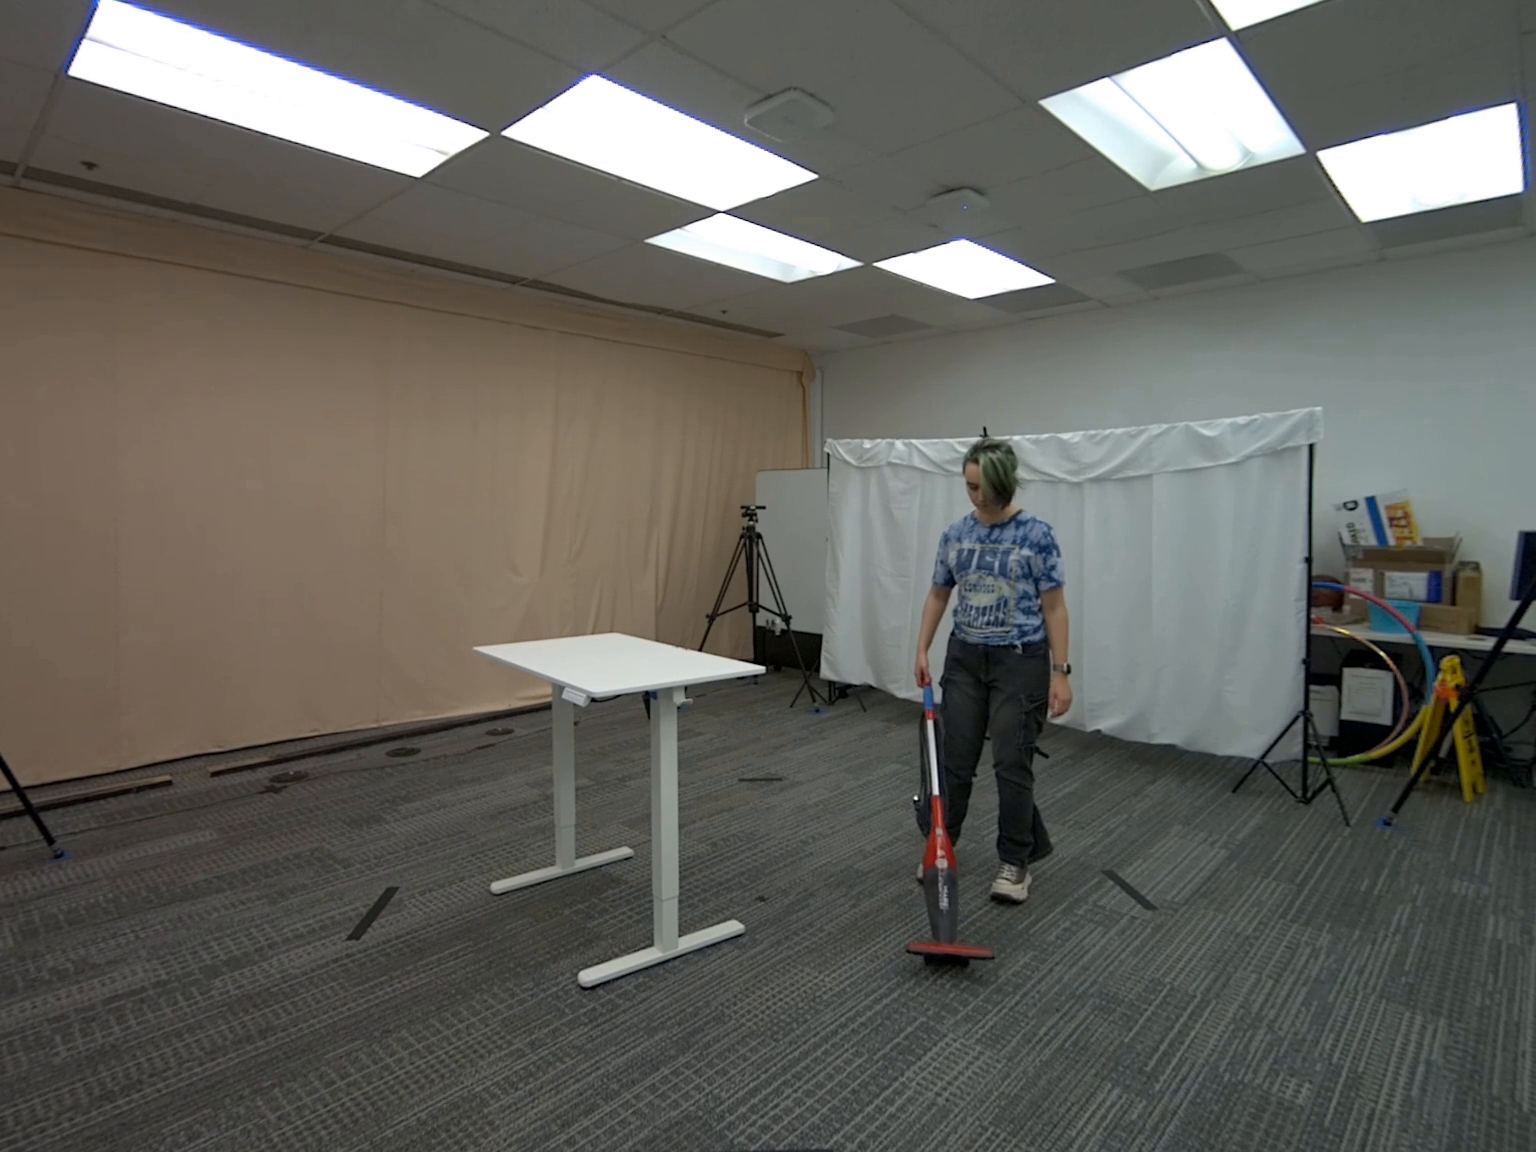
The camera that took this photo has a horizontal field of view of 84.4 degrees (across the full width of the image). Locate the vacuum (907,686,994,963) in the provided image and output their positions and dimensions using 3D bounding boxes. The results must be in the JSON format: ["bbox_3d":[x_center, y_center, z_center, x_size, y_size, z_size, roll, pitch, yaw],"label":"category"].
[{"bbox_3d":[0.583,0.779,2.866,0.255,0.141,1.064,0,45,7],"label":"vacuum"}]
